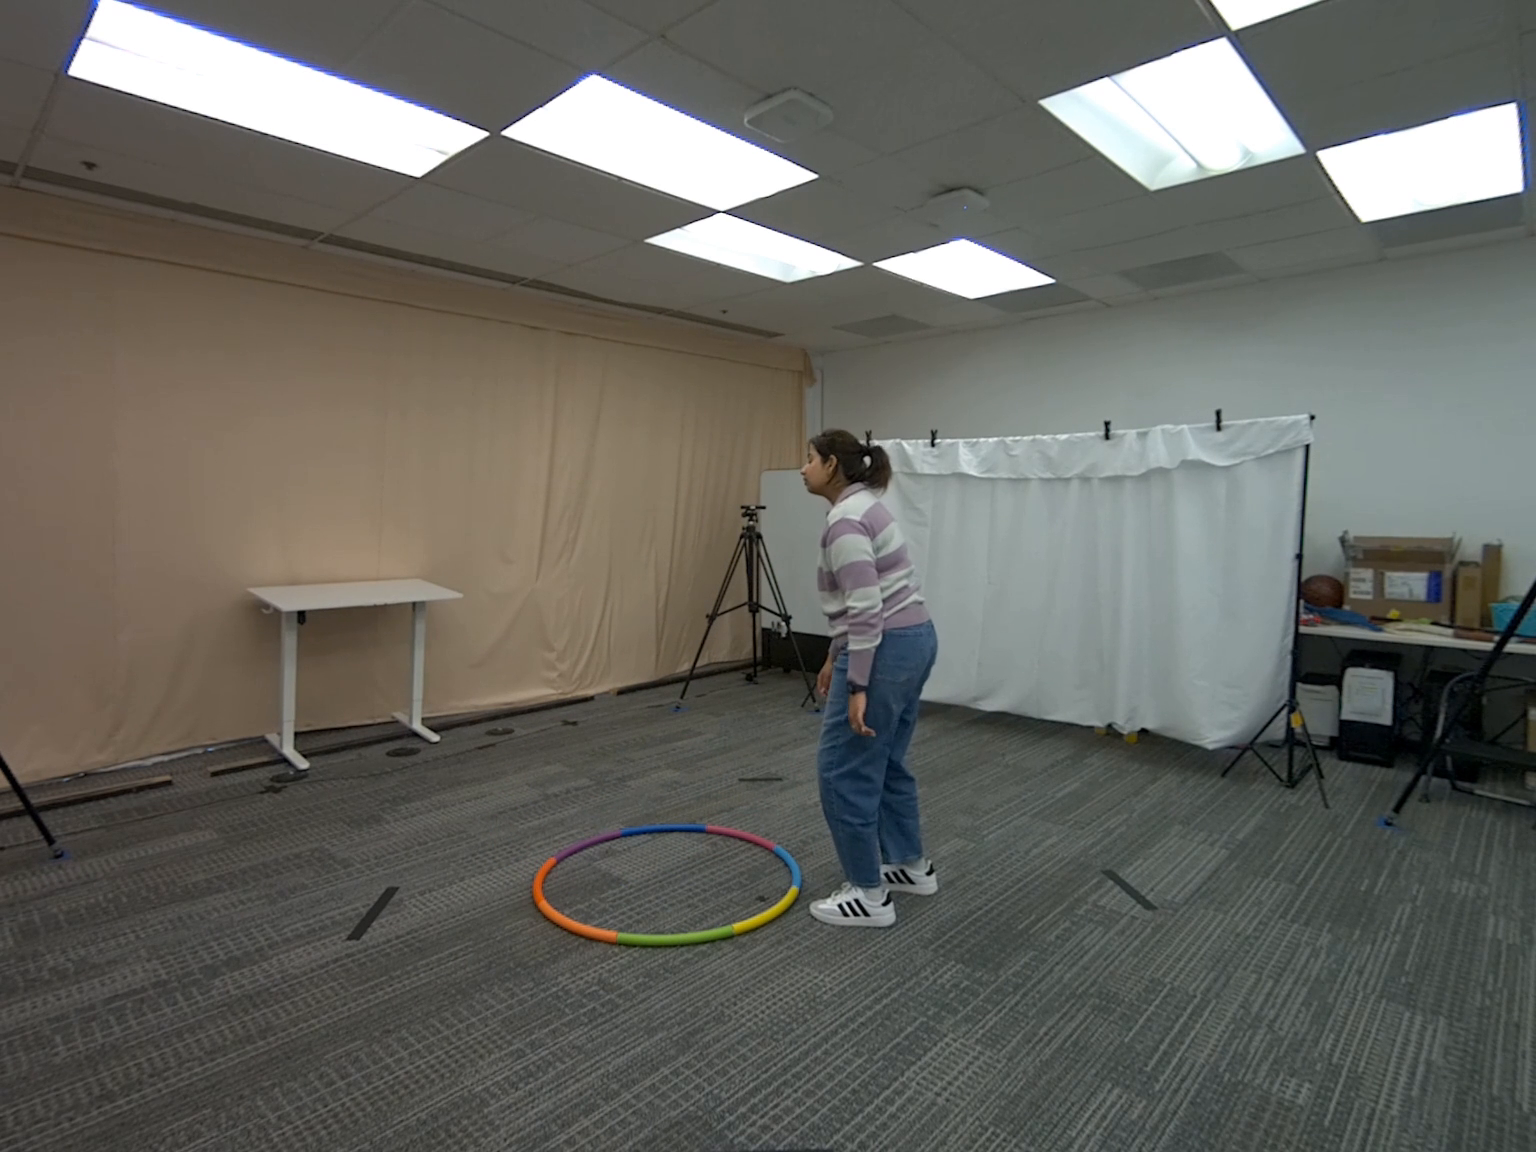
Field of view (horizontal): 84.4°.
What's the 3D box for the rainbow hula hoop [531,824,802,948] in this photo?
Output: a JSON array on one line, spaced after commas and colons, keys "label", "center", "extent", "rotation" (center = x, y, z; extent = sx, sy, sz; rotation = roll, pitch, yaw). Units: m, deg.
[{"label": "rainbow hula hoop", "center": [-0.365, 1.101, 3.133], "extent": [0.978, 0.035, 0.982], "rotation": [-1, 4, -2]}]
